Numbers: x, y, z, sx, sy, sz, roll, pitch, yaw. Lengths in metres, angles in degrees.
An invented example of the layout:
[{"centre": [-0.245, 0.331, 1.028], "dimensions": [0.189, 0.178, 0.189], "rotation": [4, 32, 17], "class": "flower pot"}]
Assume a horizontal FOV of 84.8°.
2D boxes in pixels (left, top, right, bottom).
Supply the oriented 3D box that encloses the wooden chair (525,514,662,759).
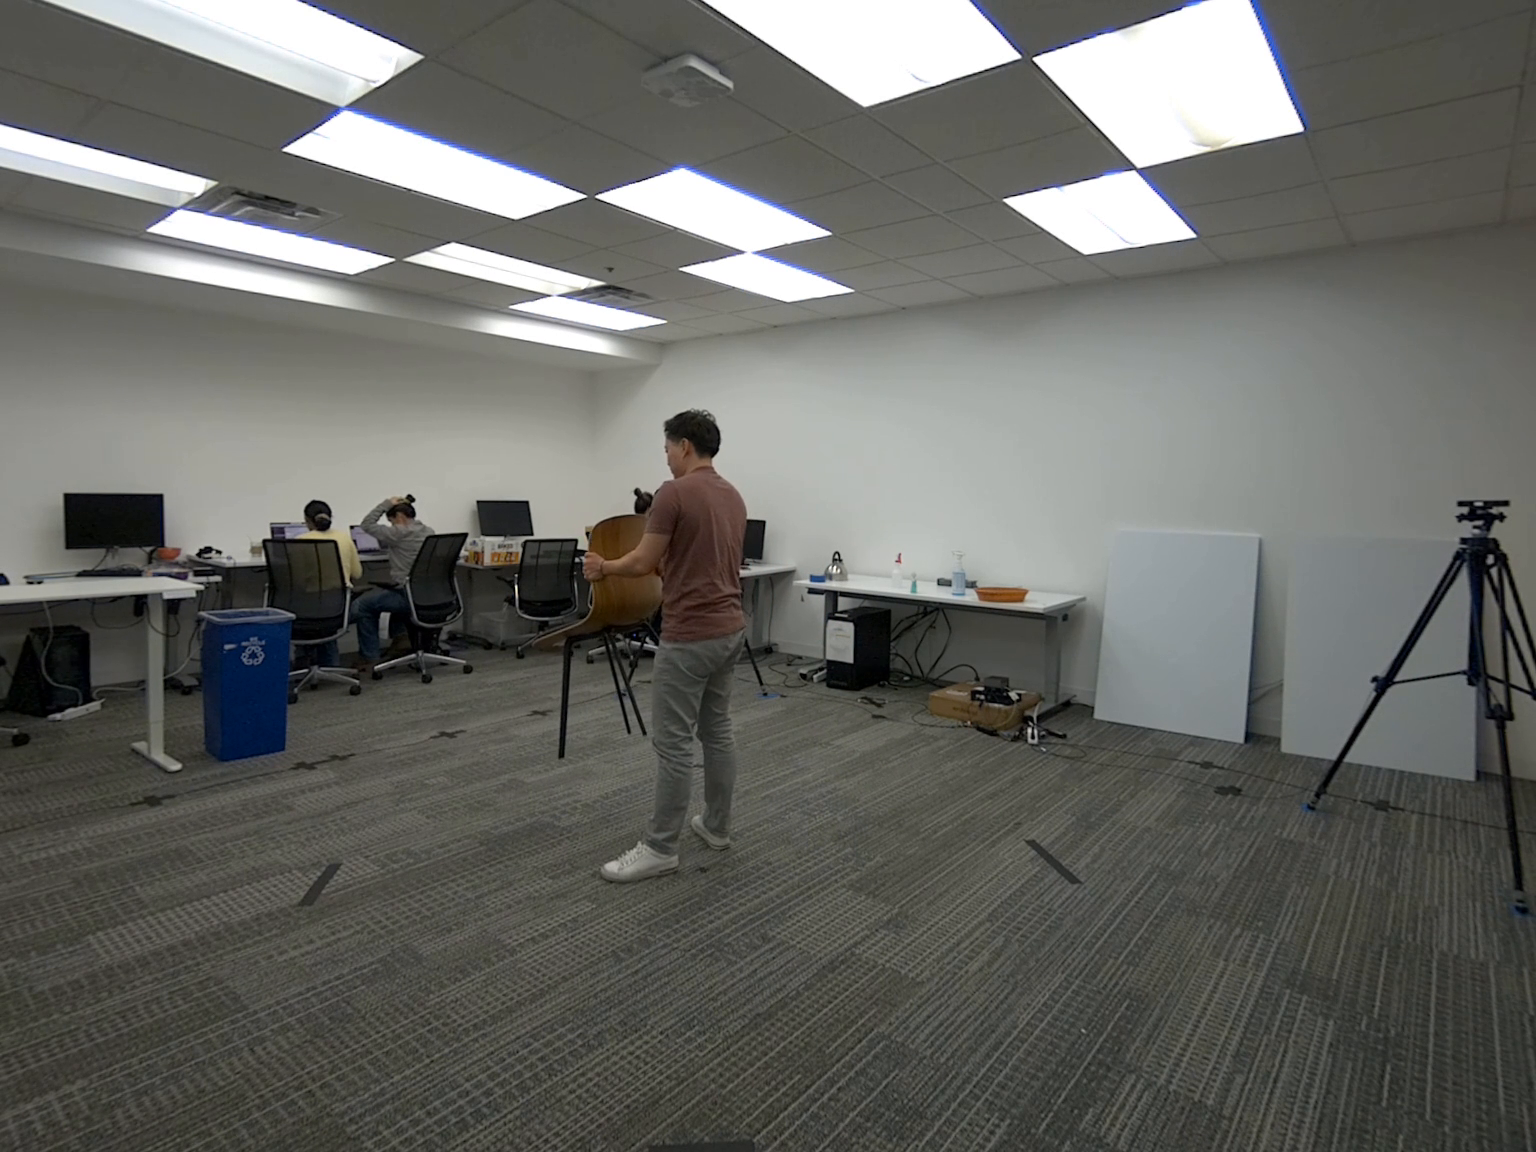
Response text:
[{"centre": [-0.677, 0.235, 3.494], "dimensions": [0.533, 0.884, 0.465], "rotation": [-18, -6, 32], "class": "wooden chair"}]
